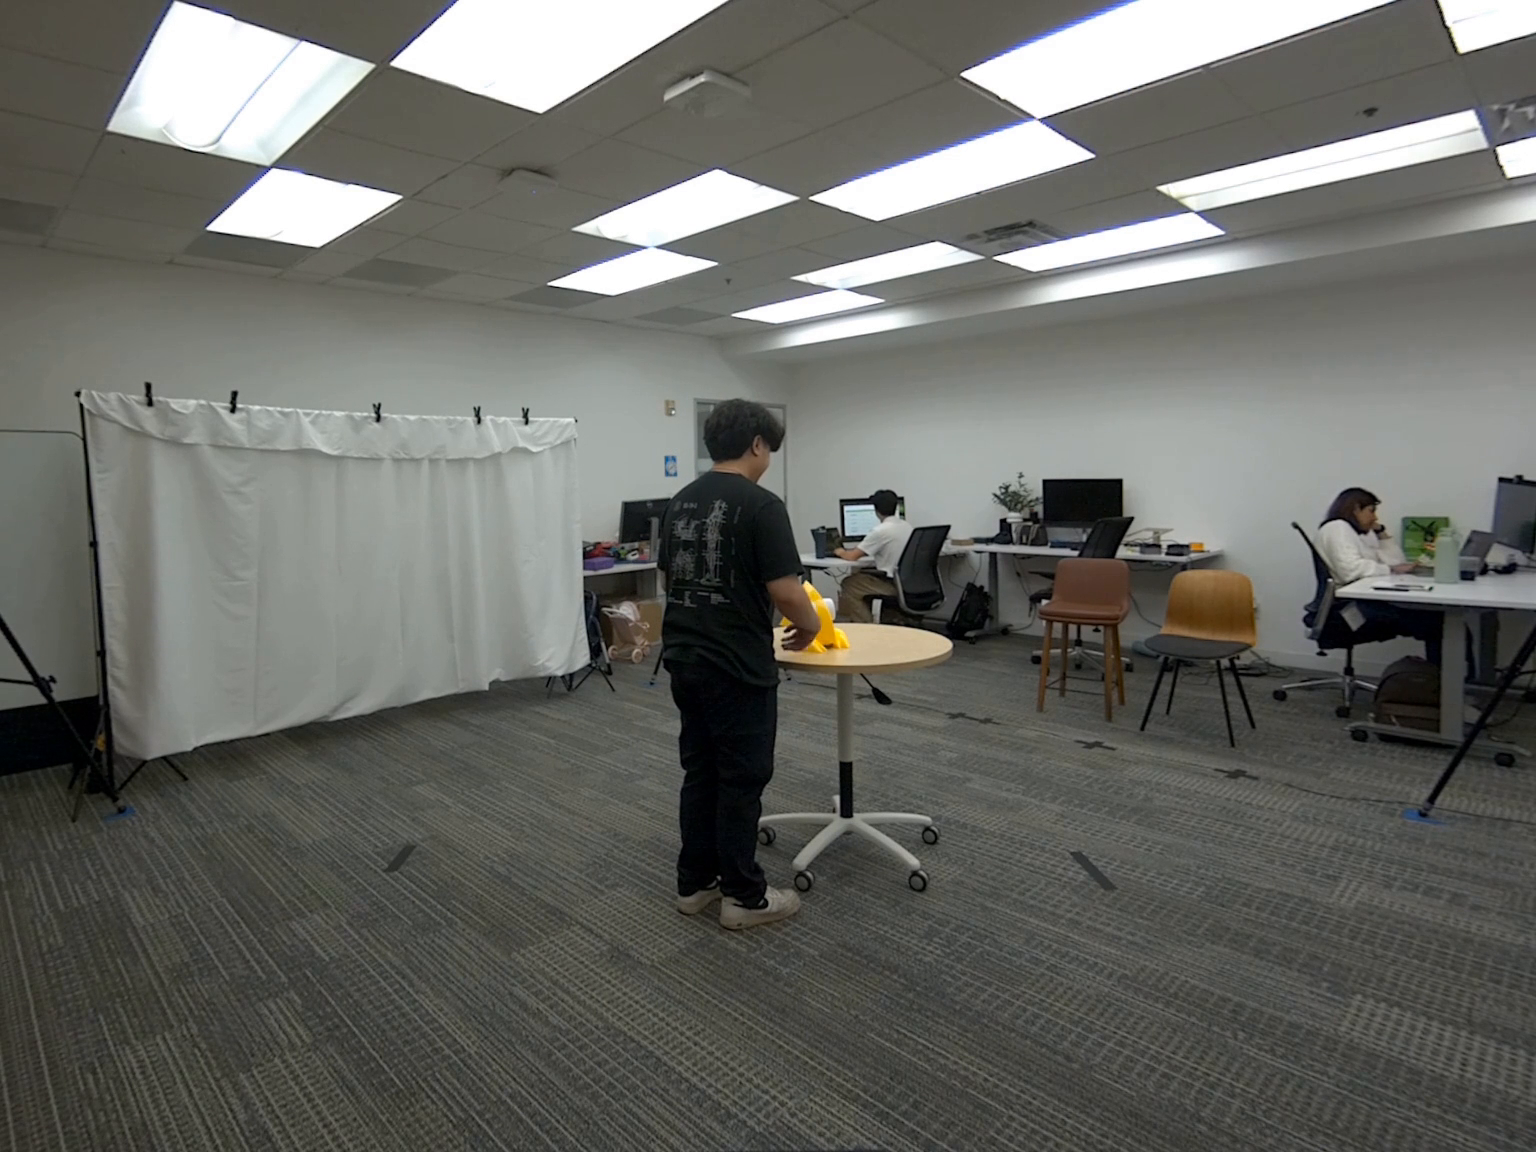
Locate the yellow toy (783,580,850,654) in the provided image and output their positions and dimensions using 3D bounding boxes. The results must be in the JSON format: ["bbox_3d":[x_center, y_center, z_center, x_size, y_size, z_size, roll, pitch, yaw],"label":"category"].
[{"bbox_3d":[0.181,0.139,3.048,0.199,0.230,0.199,-4,7,-36],"label":"yellow toy"}]
